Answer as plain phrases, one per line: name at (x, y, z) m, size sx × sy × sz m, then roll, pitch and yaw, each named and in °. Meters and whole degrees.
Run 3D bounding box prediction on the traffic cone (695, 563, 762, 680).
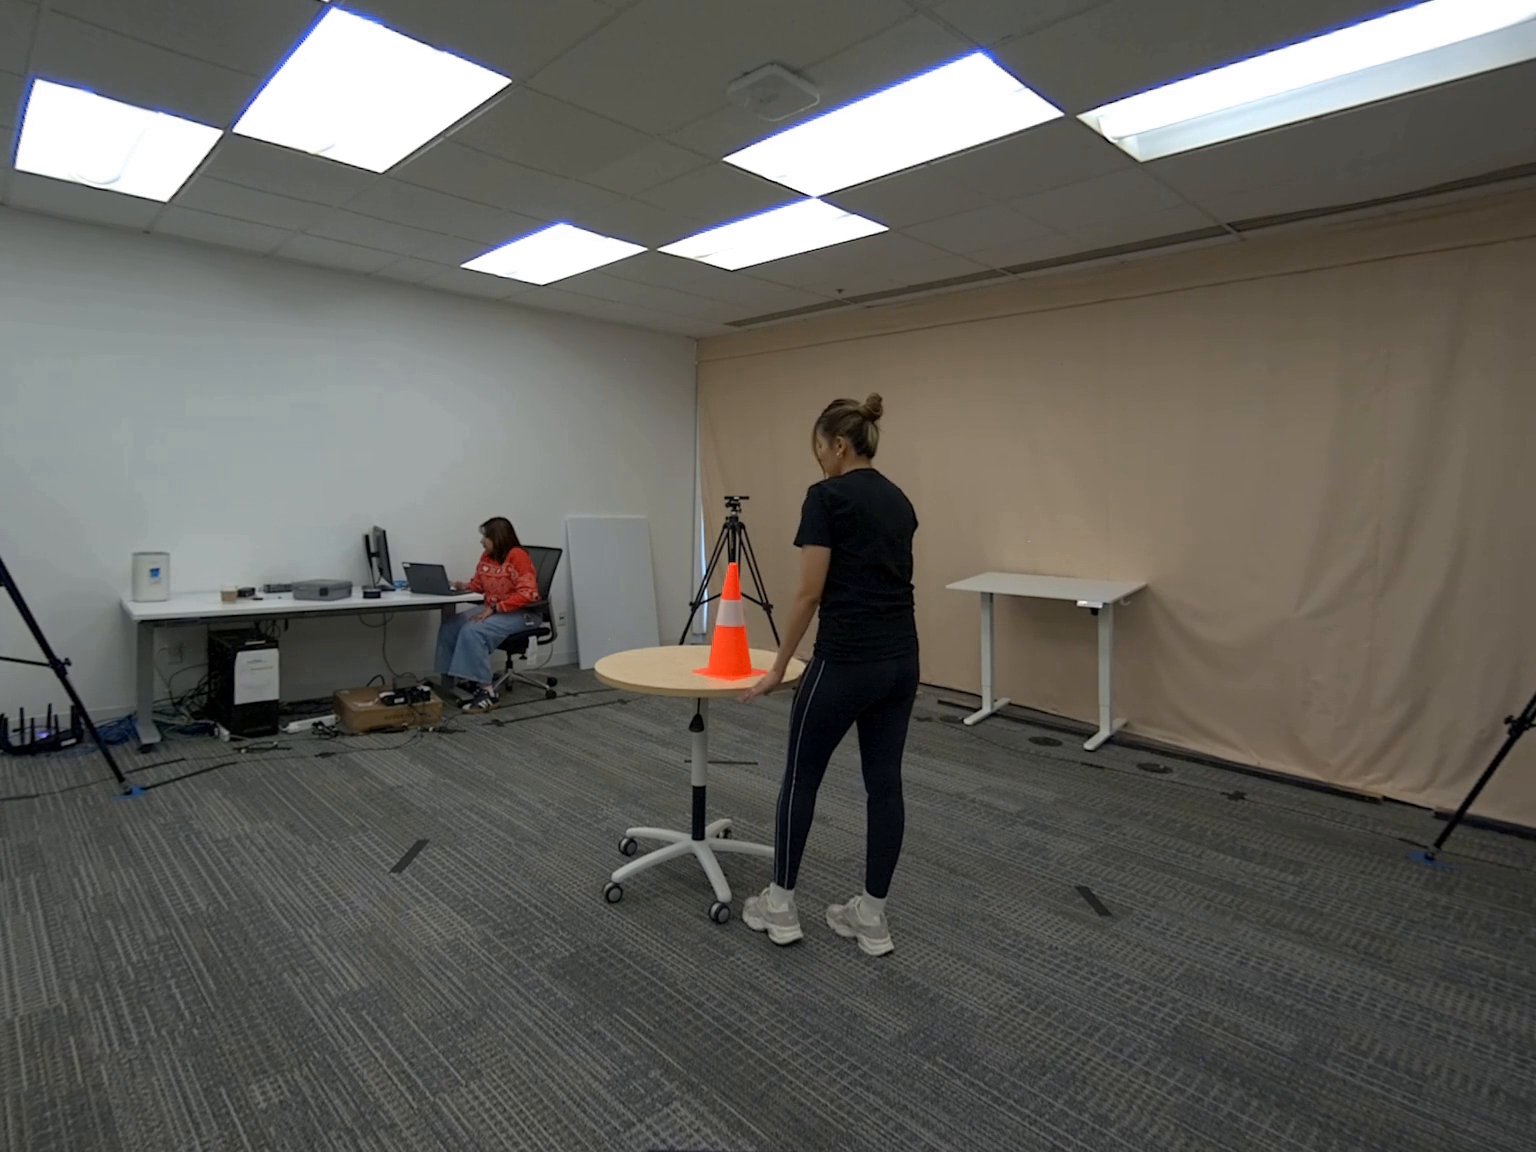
traffic cone at (-0.131, 0.152, 2.908) m, size 0.210 × 0.382 × 0.199 m, roll 6°, pitch 7°, yaw 38°
